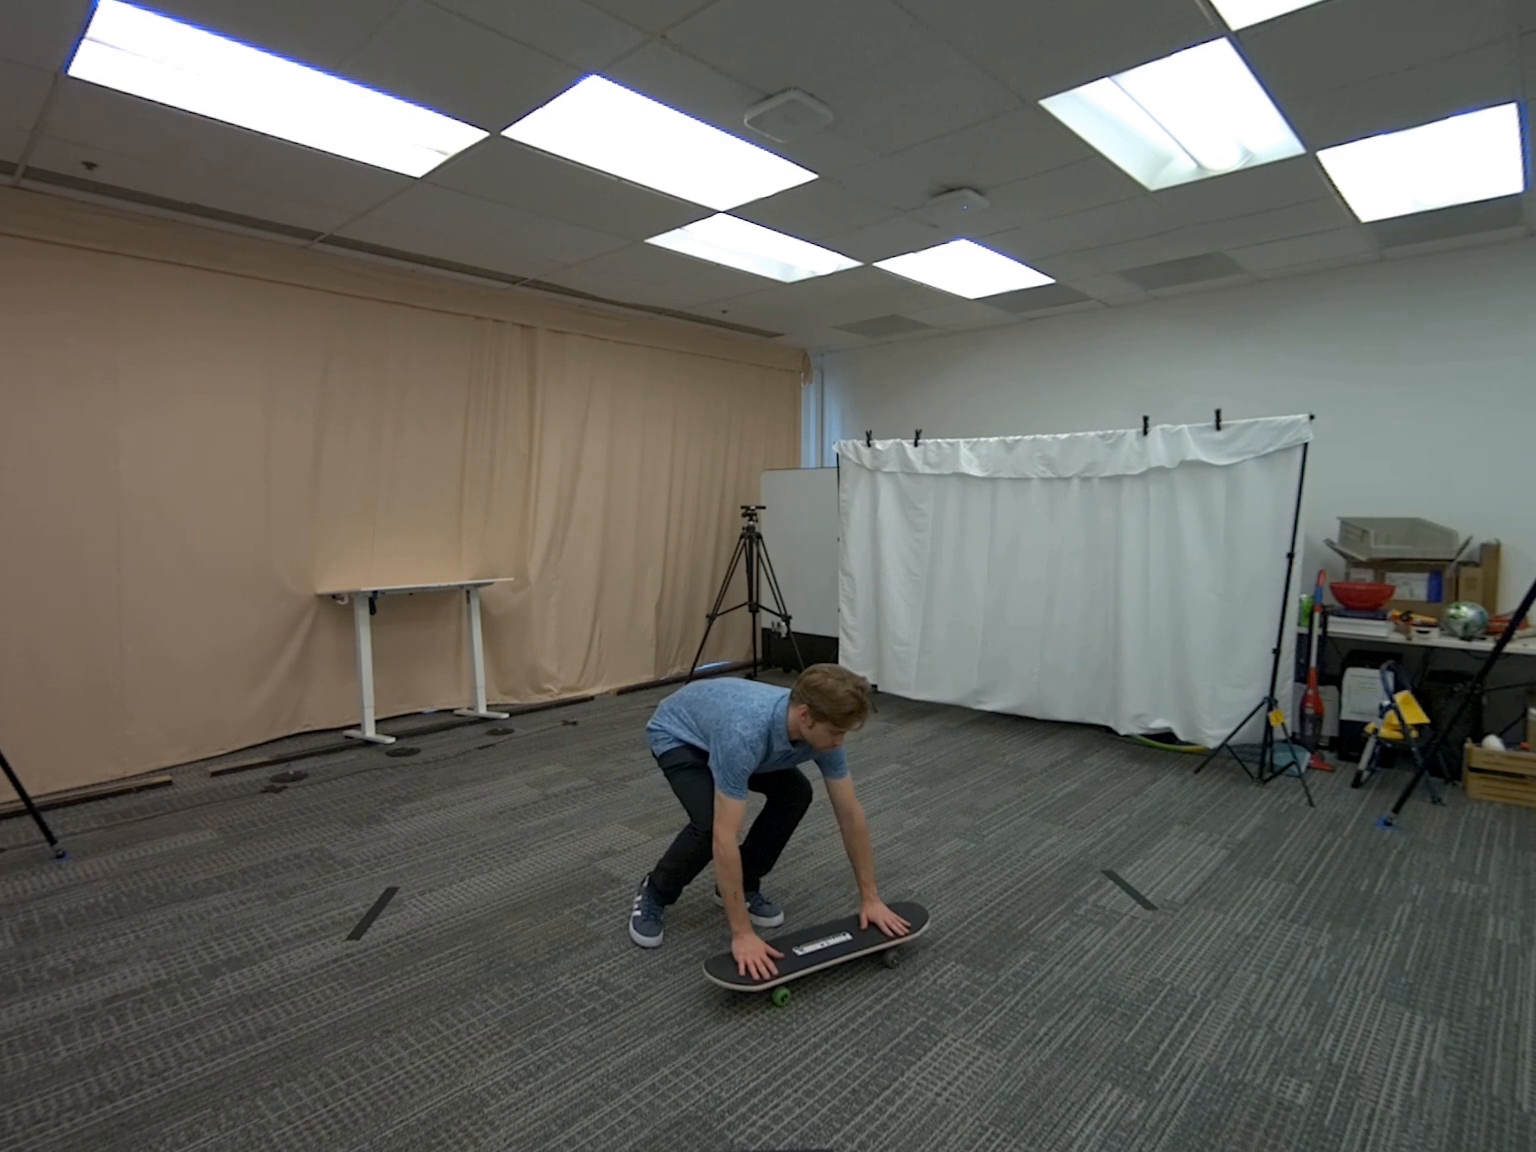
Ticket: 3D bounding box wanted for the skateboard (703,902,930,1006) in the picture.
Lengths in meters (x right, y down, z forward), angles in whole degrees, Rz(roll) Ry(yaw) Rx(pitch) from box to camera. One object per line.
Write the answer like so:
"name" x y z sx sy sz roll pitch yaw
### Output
"skateboard" 0.169 1.123 2.509 0.765 0.110 0.199 -3 7 -29
